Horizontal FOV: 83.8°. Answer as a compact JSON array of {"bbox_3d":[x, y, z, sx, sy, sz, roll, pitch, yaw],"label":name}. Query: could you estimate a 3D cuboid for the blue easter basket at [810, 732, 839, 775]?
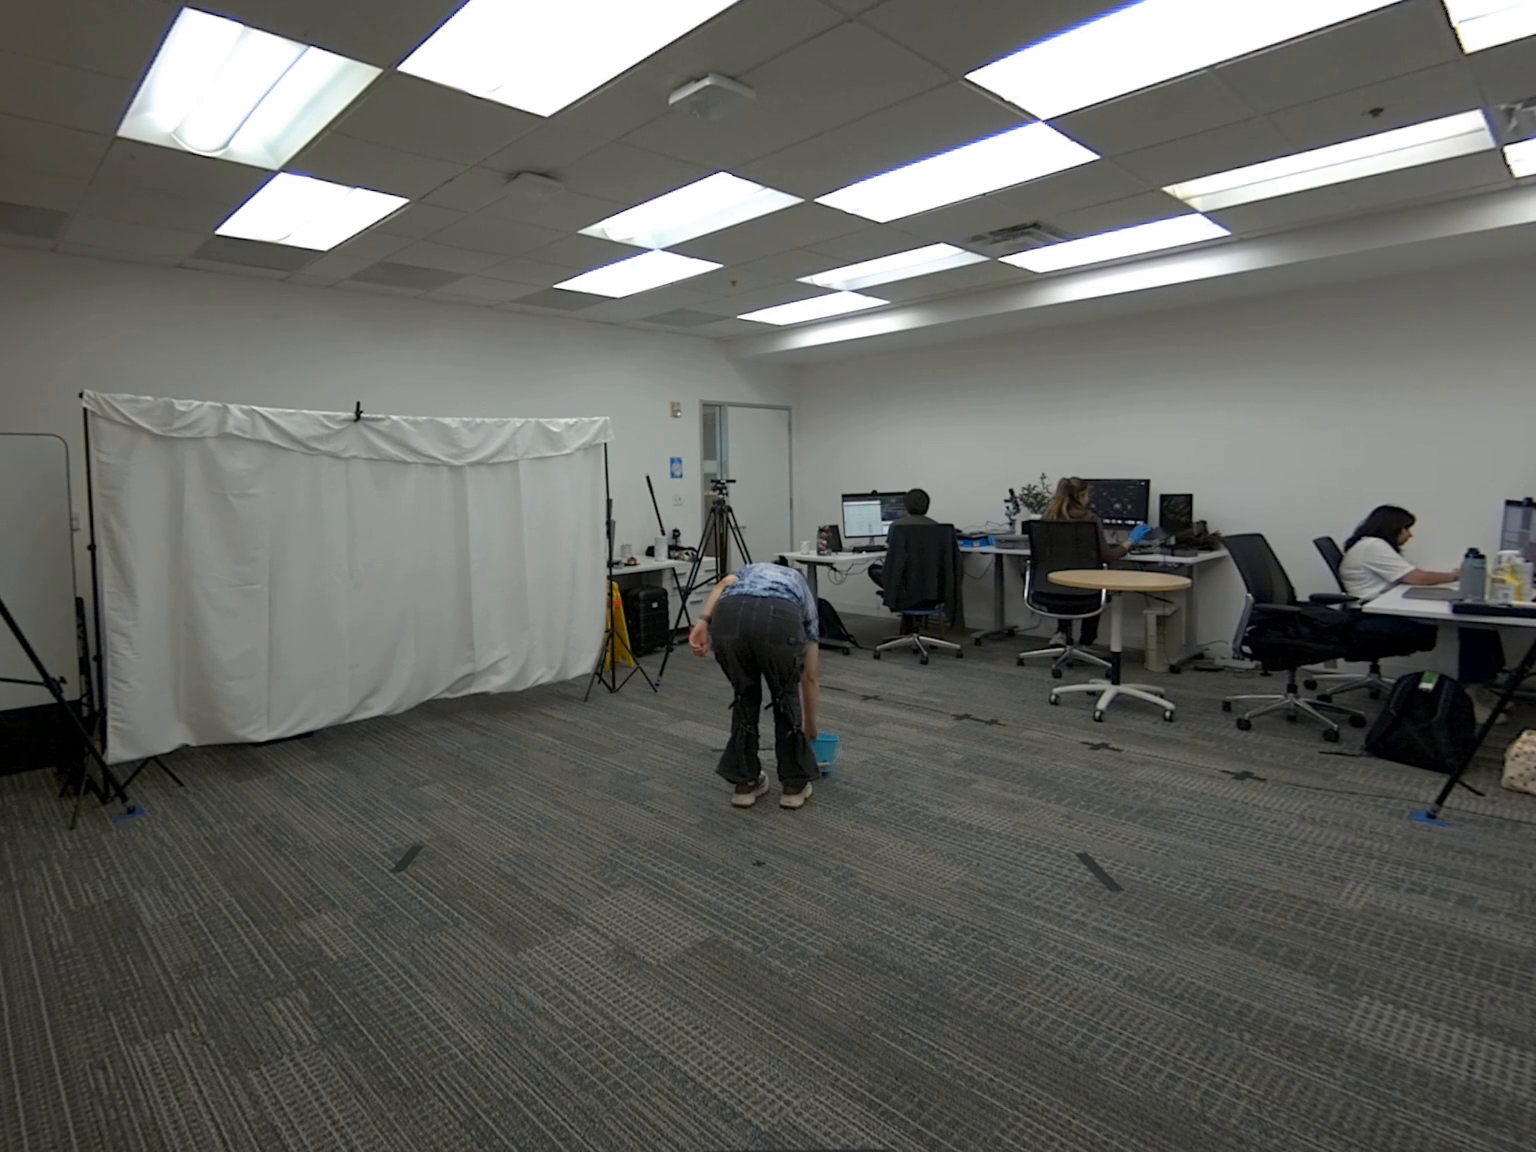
[{"bbox_3d":[0.212,0.818,4.057,0.243,0.156,0.243,5,-2,-1],"label":"blue easter basket"}]
